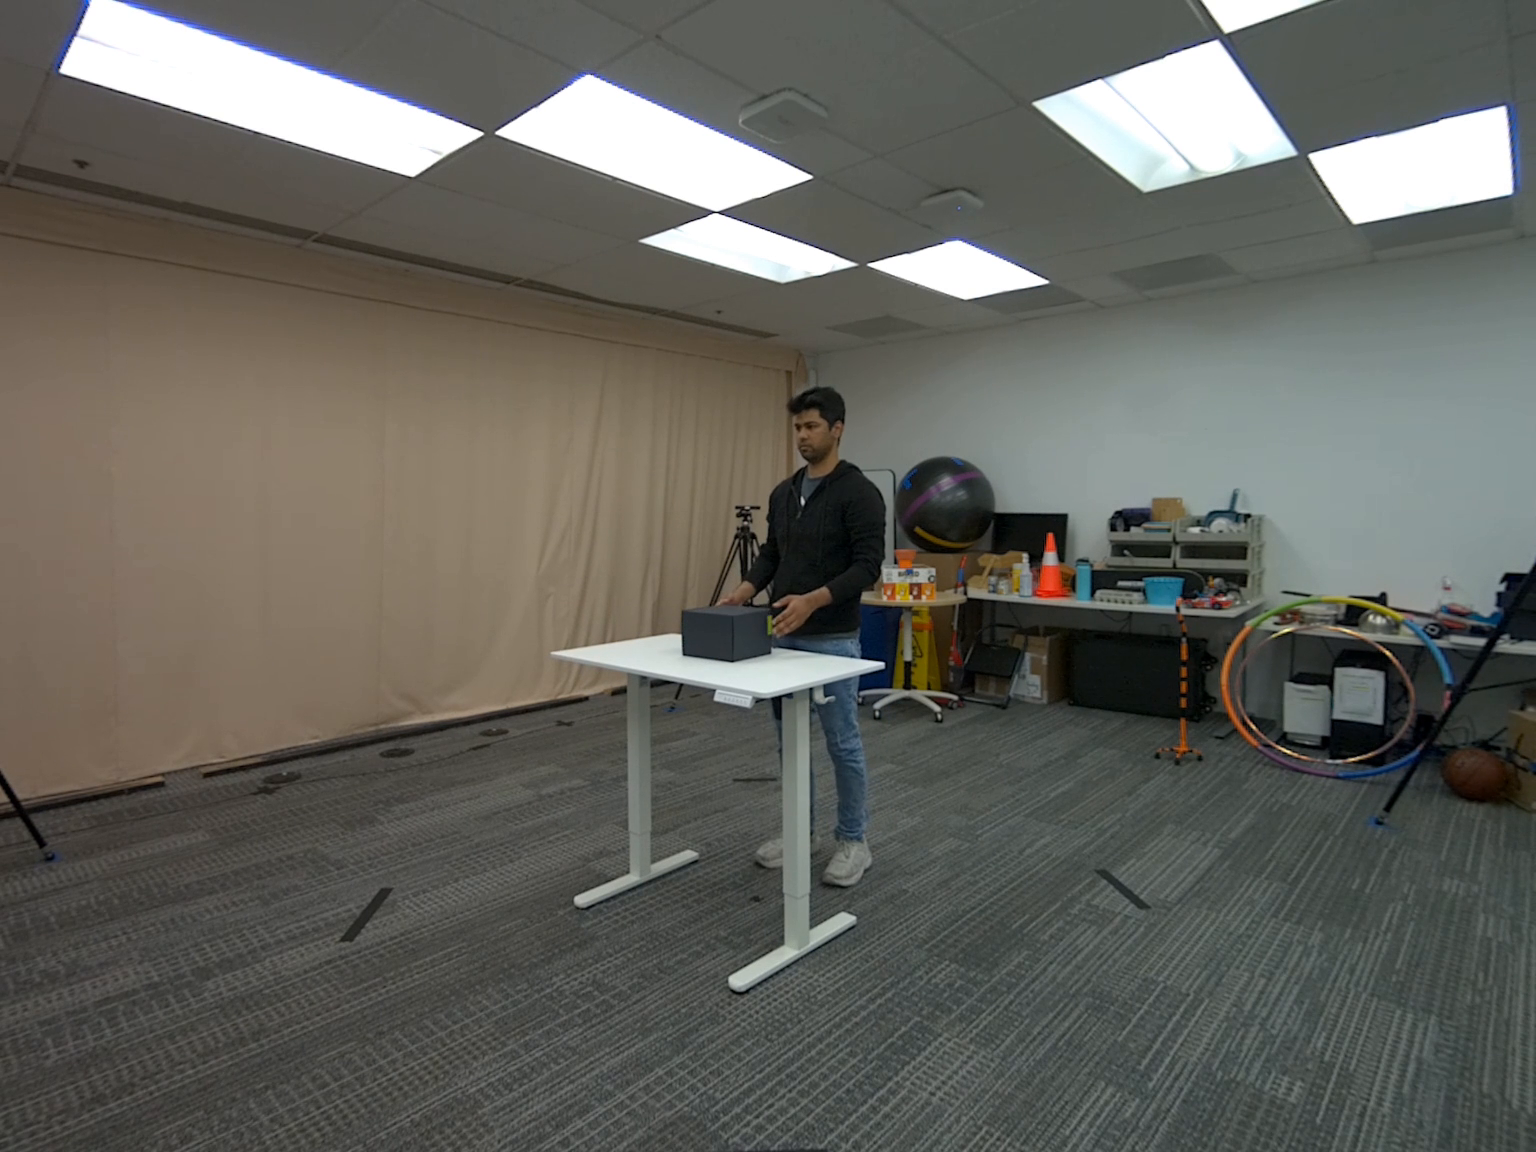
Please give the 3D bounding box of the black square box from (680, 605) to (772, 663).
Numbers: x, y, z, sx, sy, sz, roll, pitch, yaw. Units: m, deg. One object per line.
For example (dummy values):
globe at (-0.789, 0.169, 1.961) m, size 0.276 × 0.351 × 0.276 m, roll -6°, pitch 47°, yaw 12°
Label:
black square box at (-0.142, 0.193, 2.881) m, size 0.235 × 0.155 × 0.210 m, roll 3°, pitch 5°, yaw 38°
